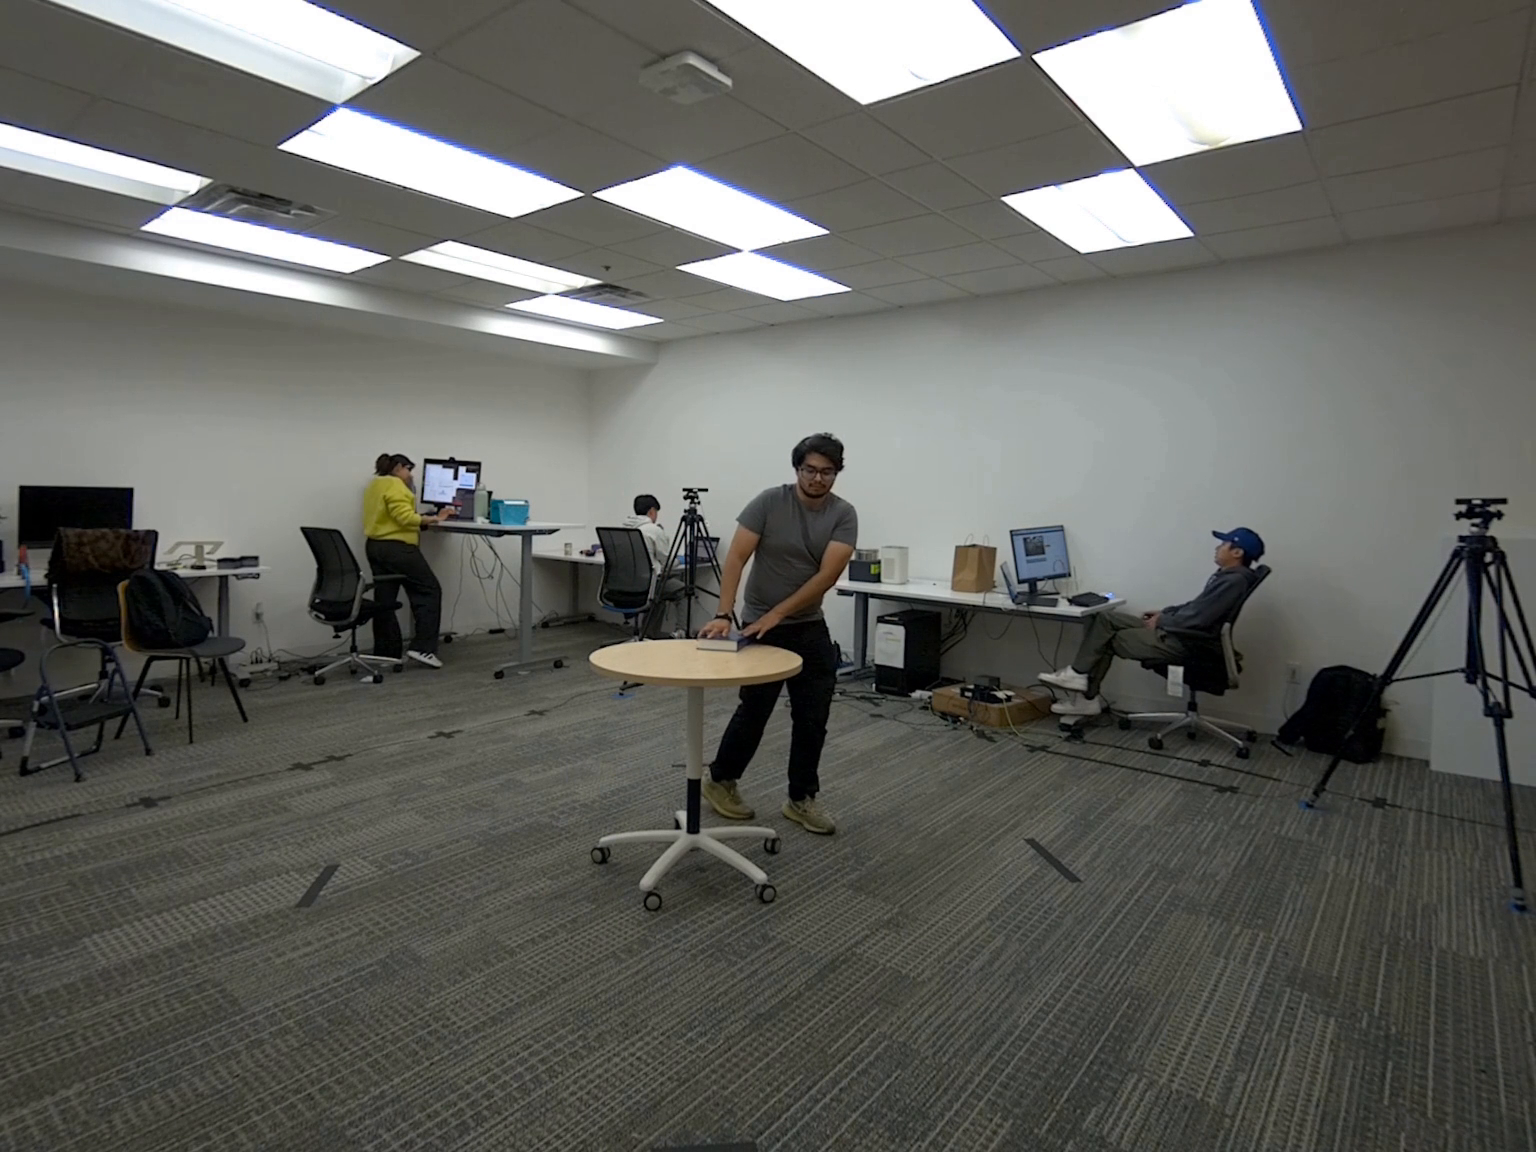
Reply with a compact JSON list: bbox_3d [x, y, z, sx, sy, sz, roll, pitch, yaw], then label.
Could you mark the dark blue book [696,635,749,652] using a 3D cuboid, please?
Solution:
[{"bbox_3d":[-0.180,0.248,3.315,0.166,0.045,0.242,2,4,13],"label":"dark blue book"}]
